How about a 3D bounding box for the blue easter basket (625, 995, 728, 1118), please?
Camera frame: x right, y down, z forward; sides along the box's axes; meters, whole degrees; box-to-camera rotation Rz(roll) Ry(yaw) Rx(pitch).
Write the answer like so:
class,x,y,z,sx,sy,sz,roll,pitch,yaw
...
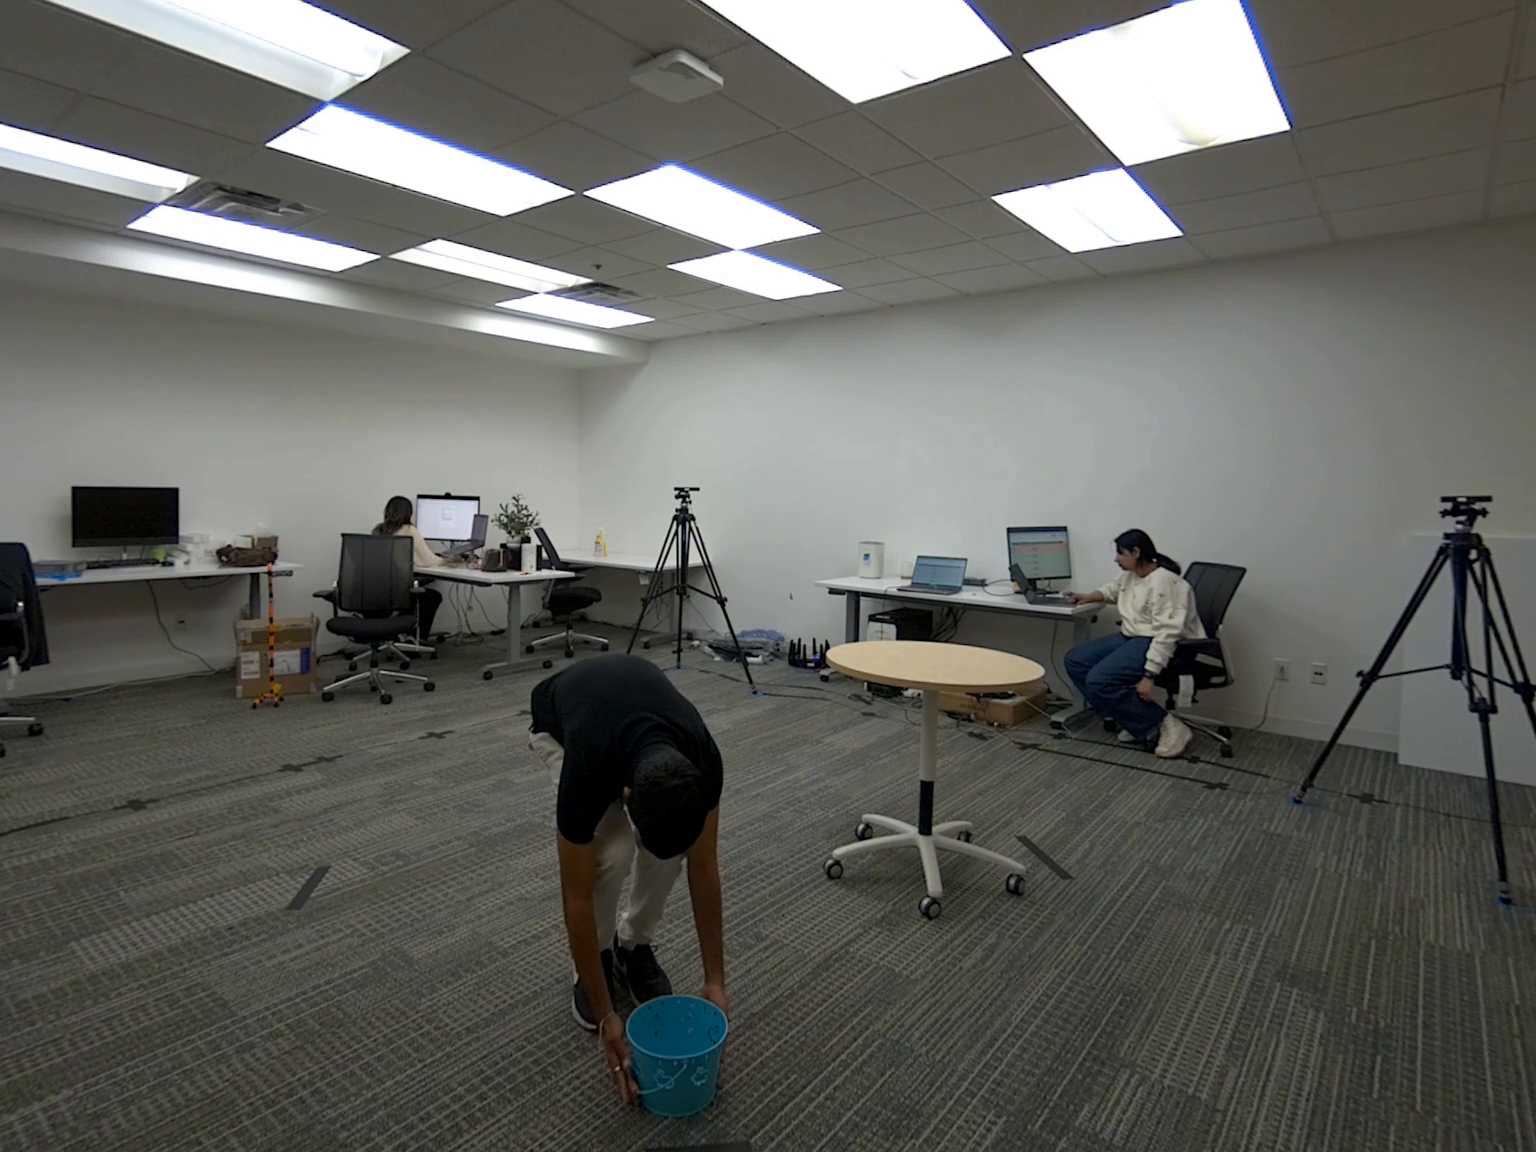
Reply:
class,x,y,z,sx,sy,sz,roll,pitch,yaw
blue easter basket,-0.216,1.102,1.972,0.243,0.155,0.245,1,5,-2
